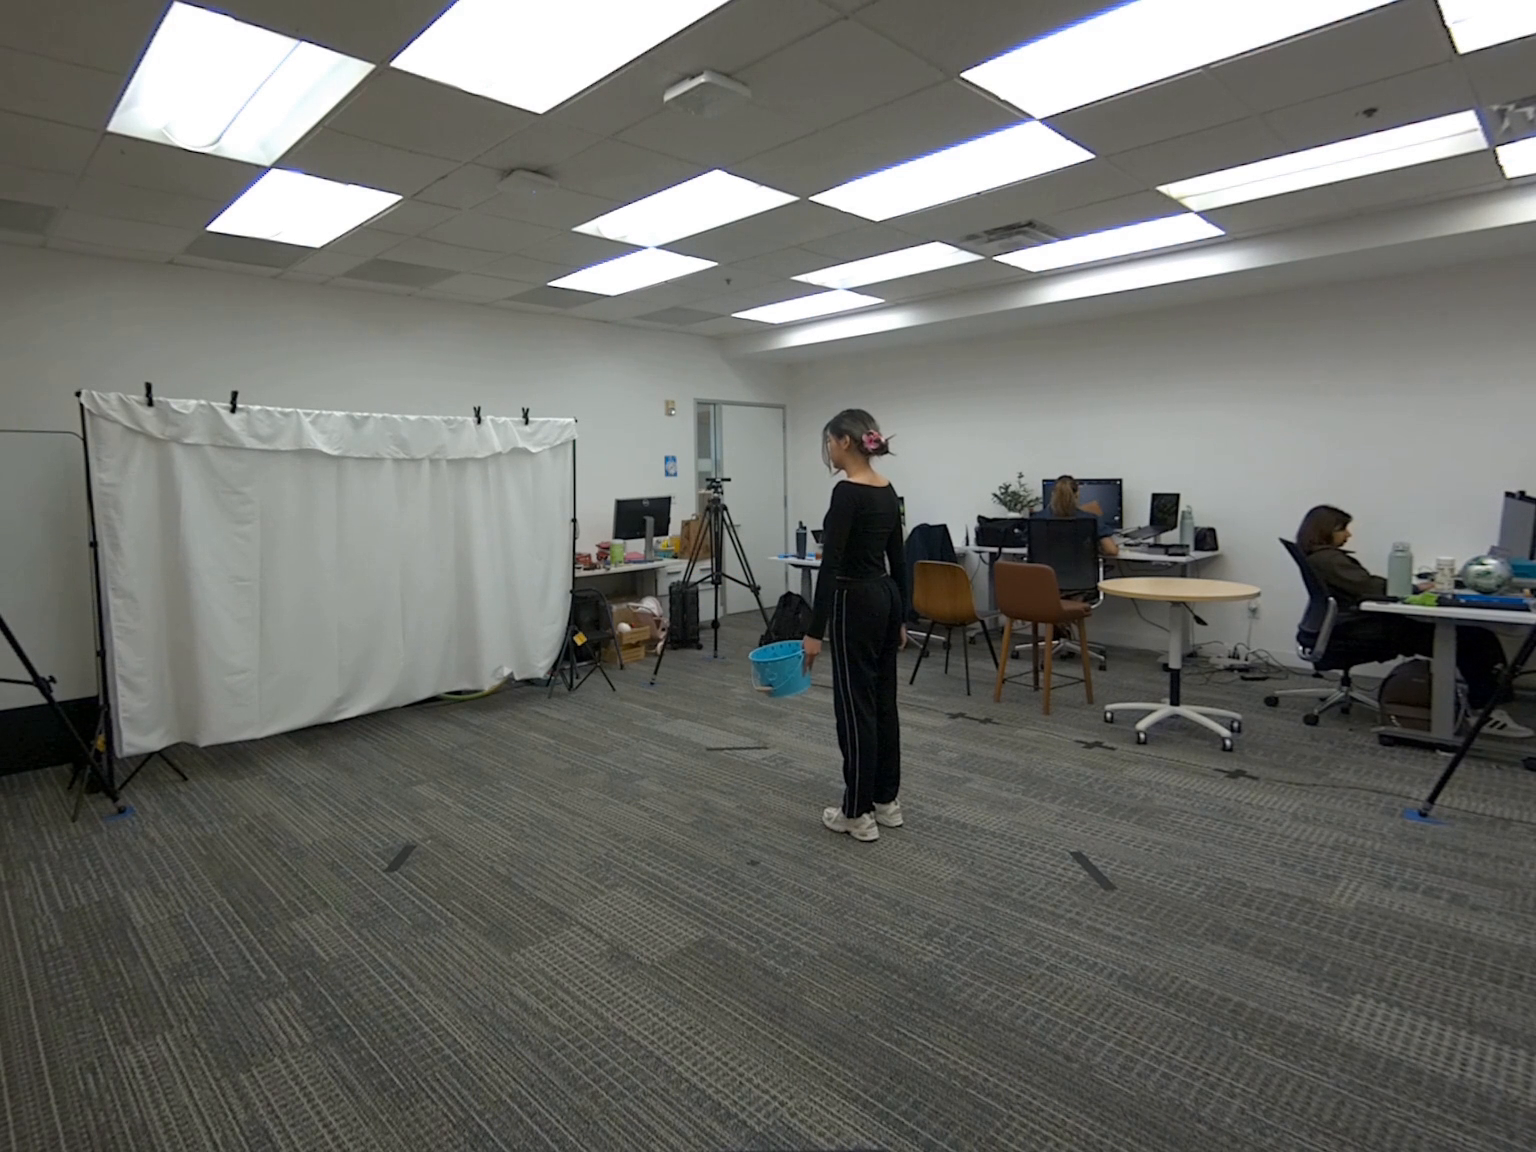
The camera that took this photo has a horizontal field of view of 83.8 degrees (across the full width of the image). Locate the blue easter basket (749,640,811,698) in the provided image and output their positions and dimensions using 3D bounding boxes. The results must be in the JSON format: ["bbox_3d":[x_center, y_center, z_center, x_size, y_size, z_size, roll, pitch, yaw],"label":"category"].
[{"bbox_3d":[0.053,0.350,3.202,0.244,0.155,0.245,-12,8,0],"label":"blue easter basket"}]
